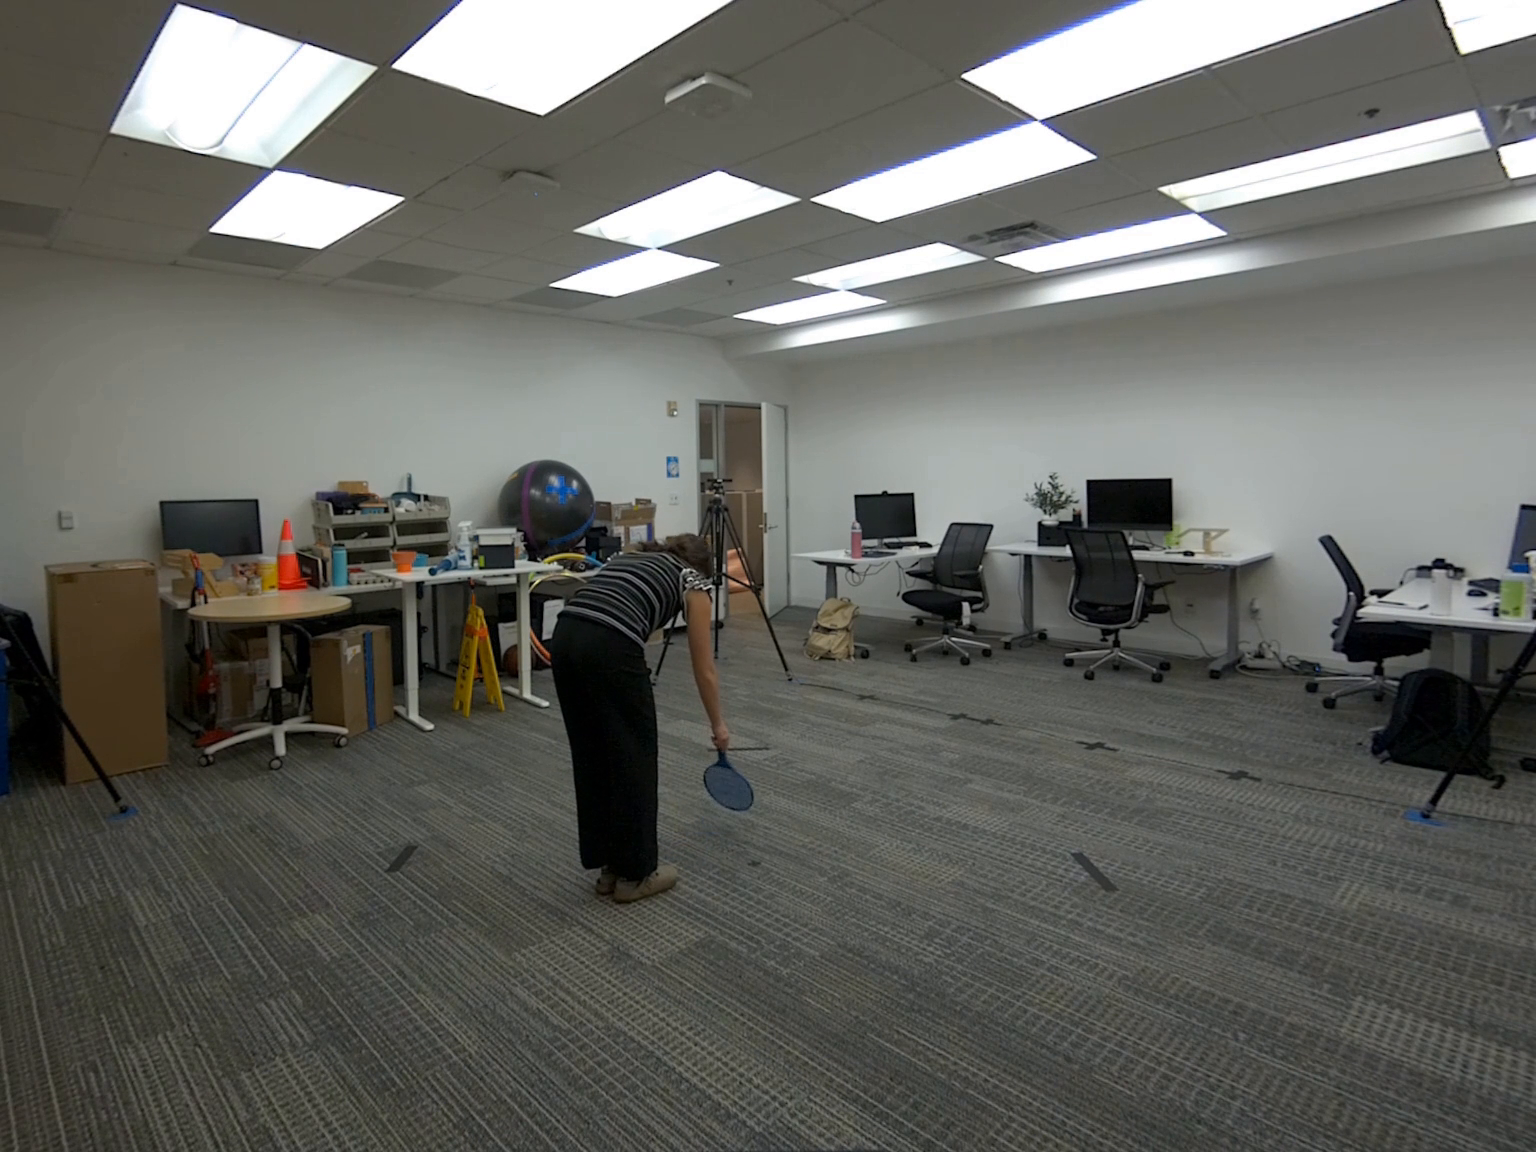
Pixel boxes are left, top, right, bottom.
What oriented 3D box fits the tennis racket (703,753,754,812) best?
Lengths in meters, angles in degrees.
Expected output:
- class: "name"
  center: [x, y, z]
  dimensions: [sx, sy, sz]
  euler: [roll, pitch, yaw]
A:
- class: "tennis racket"
  center: [-0.160, 0.757, 3.299]
  dimensions: [0.219, 0.421, 0.032]
  euler: [10, 37, 25]
